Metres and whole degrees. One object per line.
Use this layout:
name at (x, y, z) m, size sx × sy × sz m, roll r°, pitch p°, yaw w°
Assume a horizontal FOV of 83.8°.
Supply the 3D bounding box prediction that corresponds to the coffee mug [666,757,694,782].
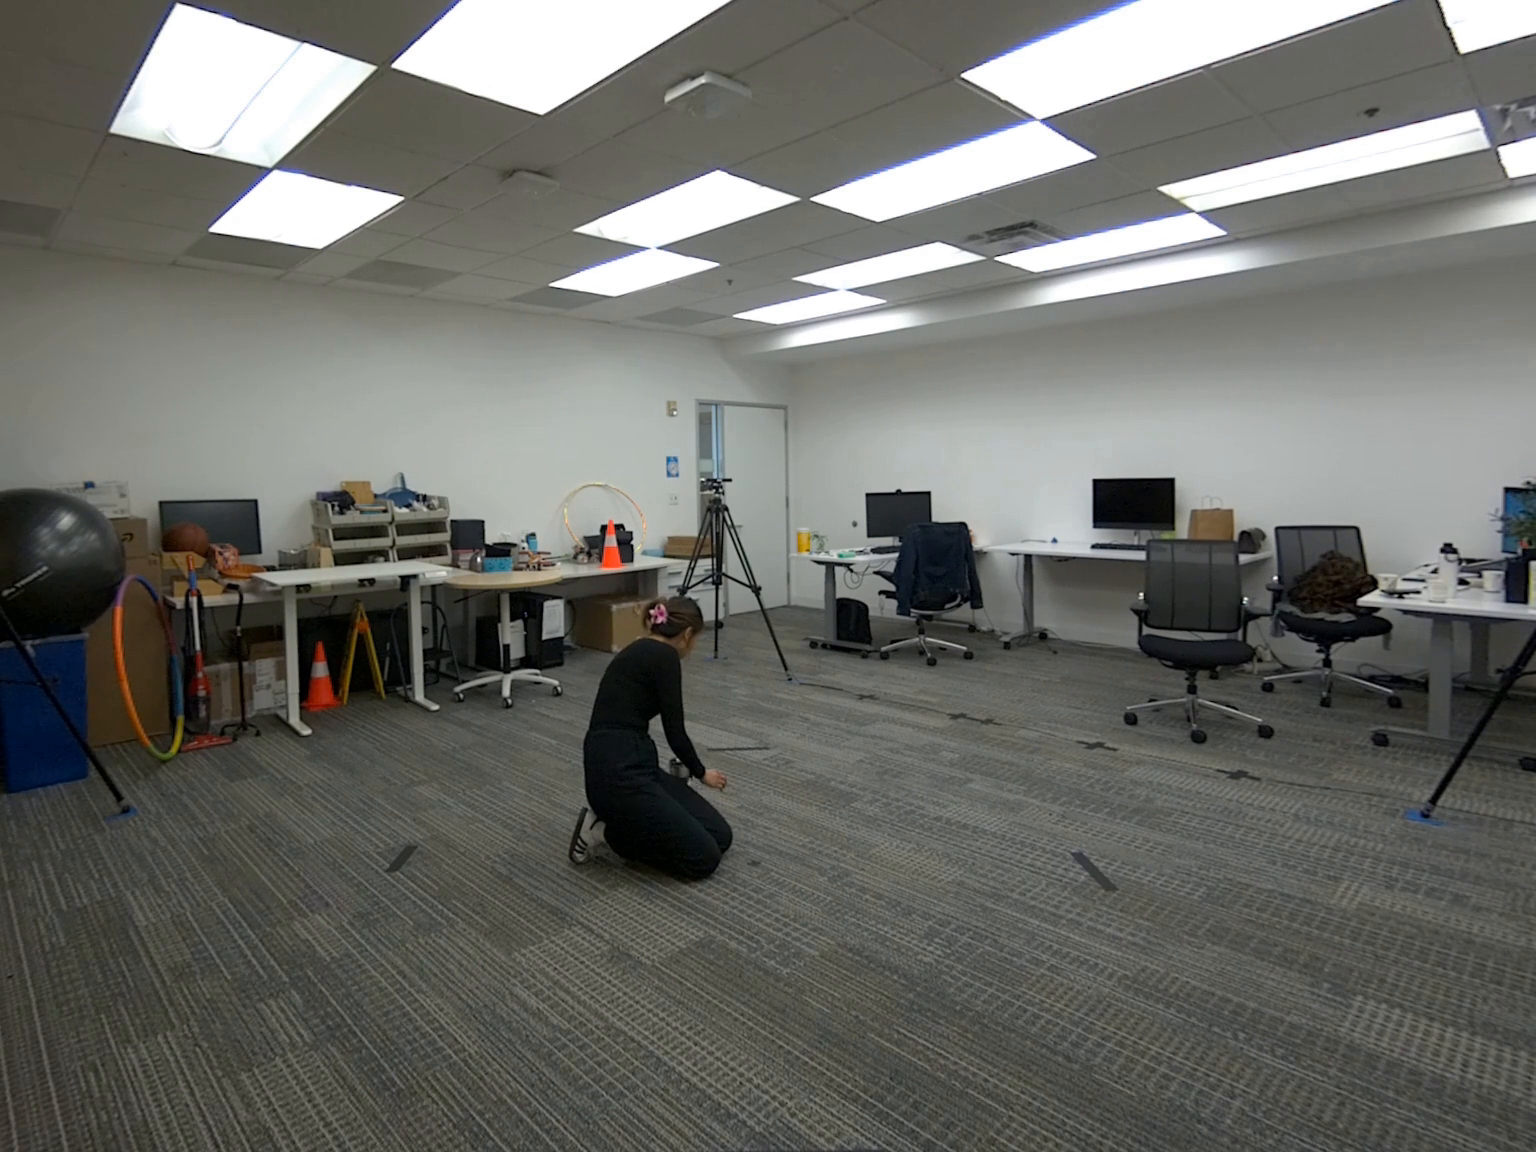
coffee mug at (-0.359, 0.889, 3.685) m, size 0.119 × 0.202 × 0.090 m, roll -8°, pitch 4°, yaw -29°
